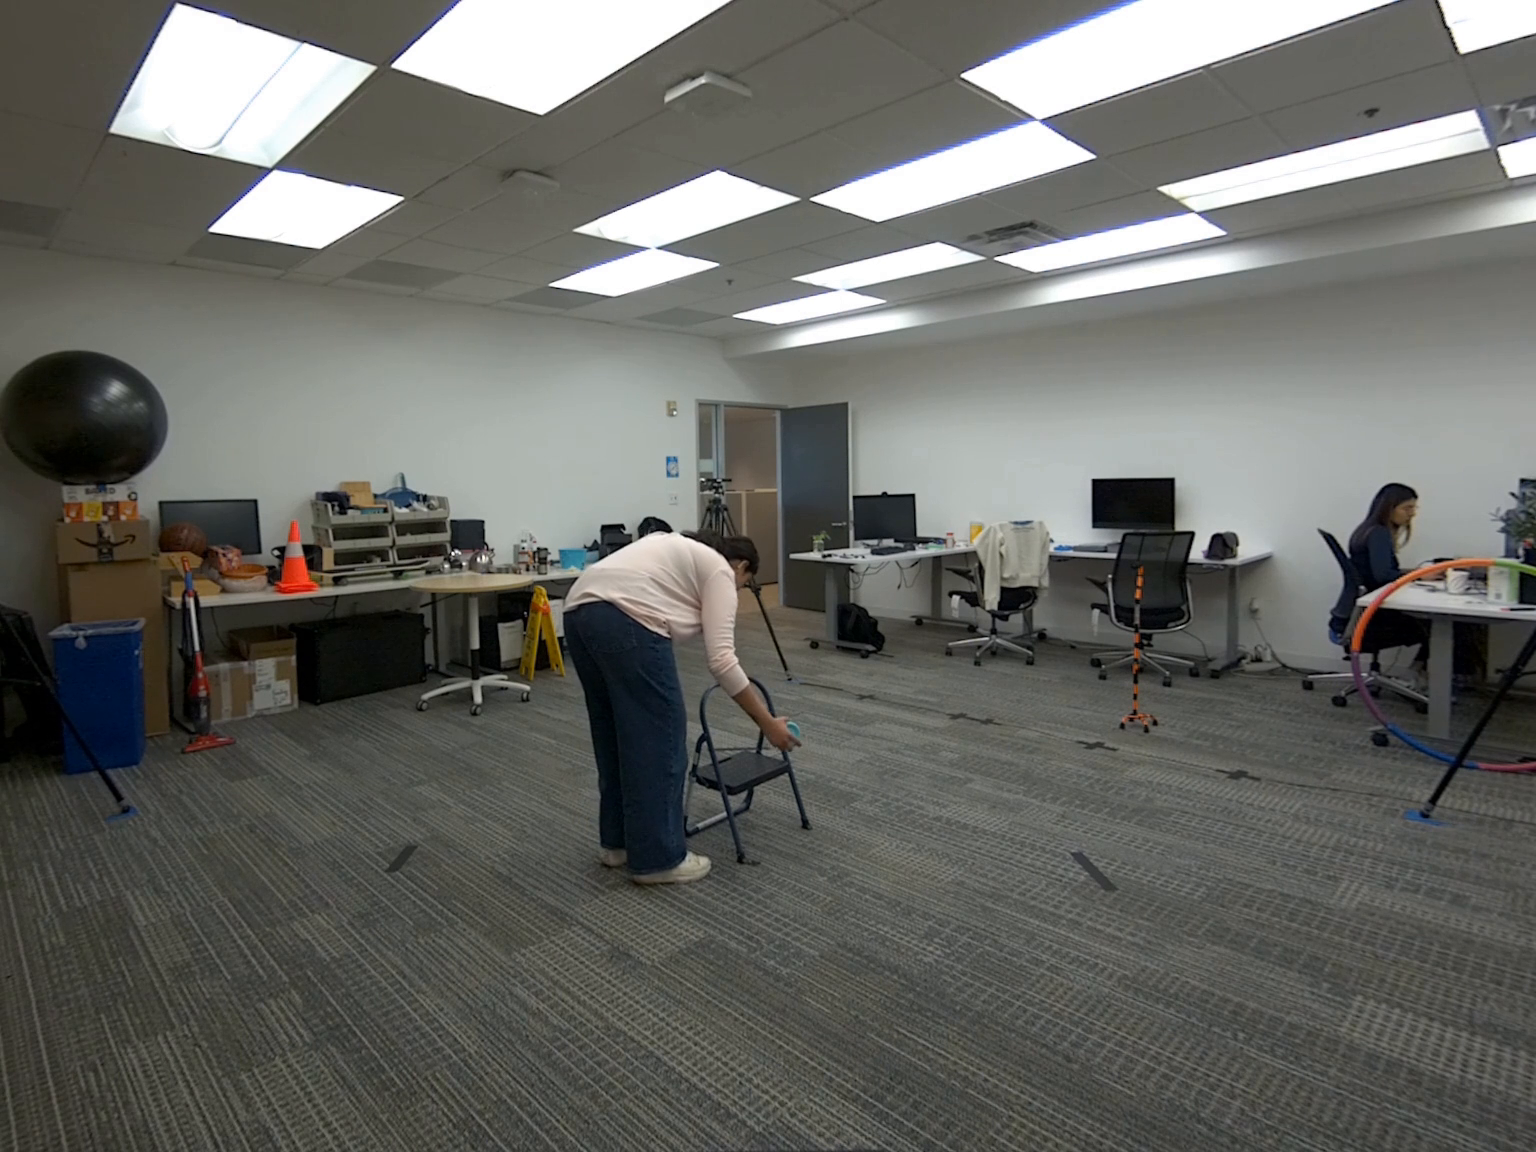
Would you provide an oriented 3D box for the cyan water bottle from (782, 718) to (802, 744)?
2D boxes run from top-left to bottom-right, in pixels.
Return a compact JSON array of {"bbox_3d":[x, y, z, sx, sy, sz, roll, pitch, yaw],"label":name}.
[{"bbox_3d":[0.046,0.562,3.146,0.091,0.093,0.284,-1,-4,-9],"label":"cyan water bottle"}]
